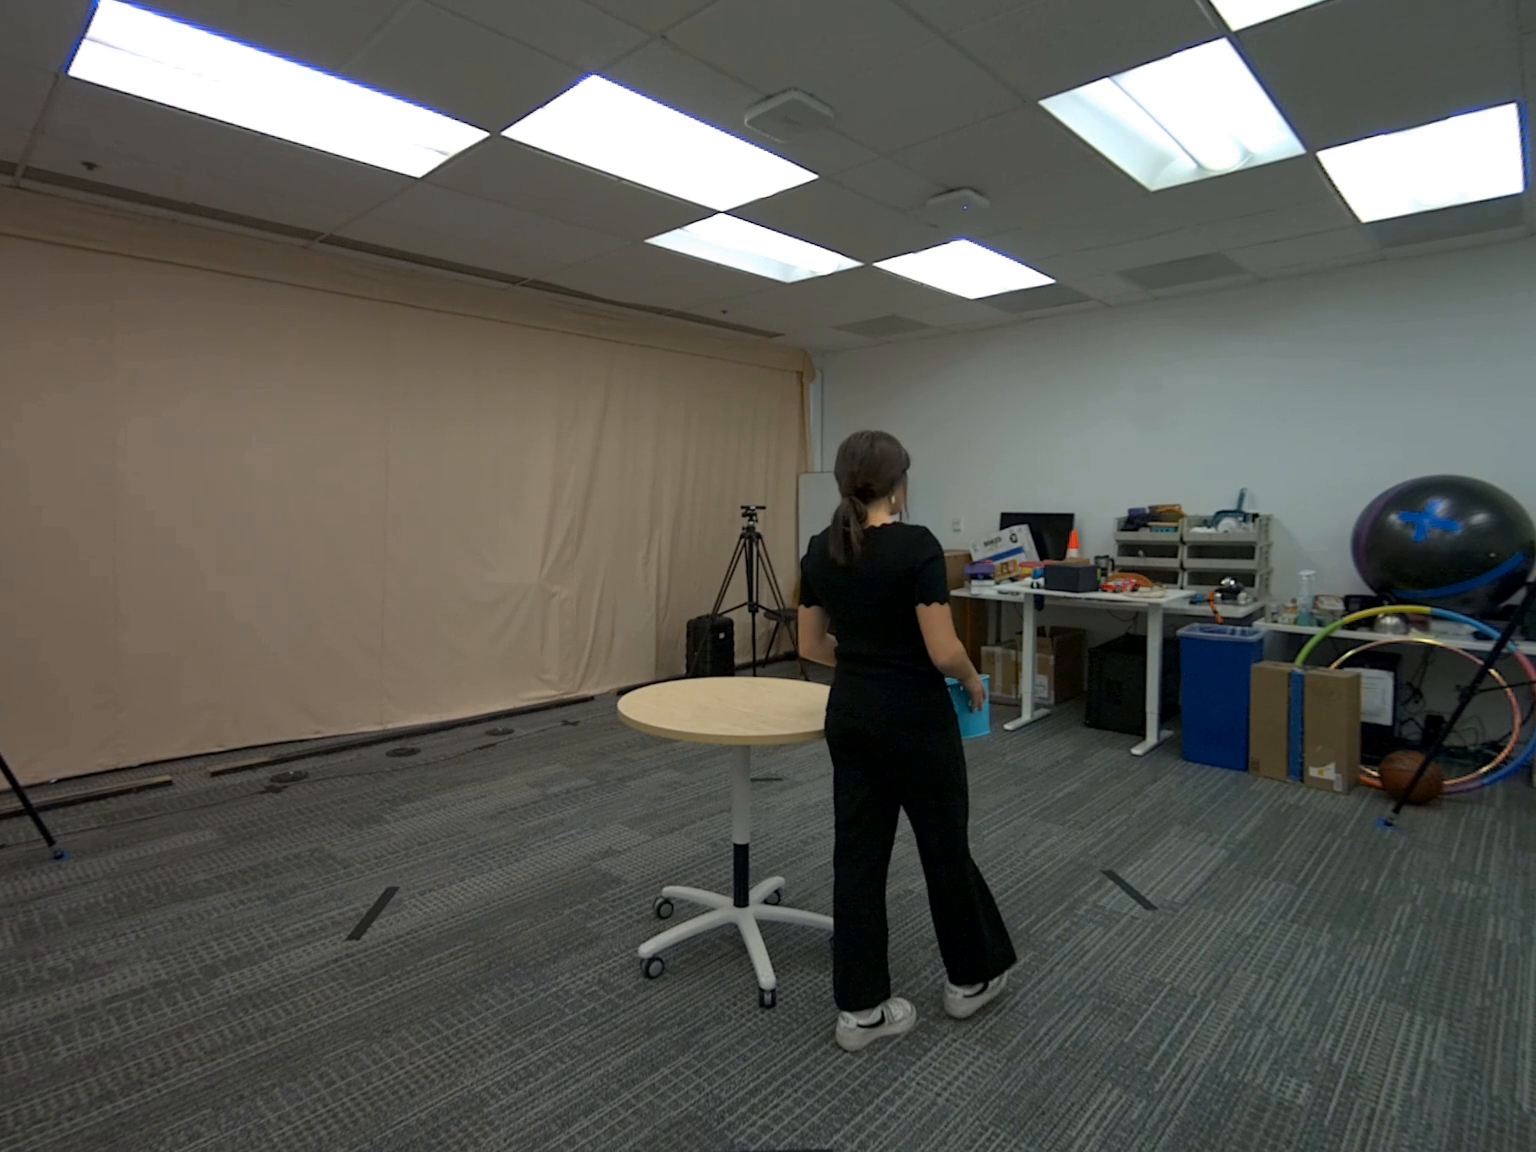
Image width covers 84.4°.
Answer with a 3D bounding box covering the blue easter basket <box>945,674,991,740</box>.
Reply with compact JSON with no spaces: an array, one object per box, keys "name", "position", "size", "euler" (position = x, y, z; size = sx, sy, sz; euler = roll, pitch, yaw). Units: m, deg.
[{"name":"blue easter basket","position":[0.526,0.382,2.372],"size":[0.243,0.156,0.243],"euler":[-9,-3,-2]}]
